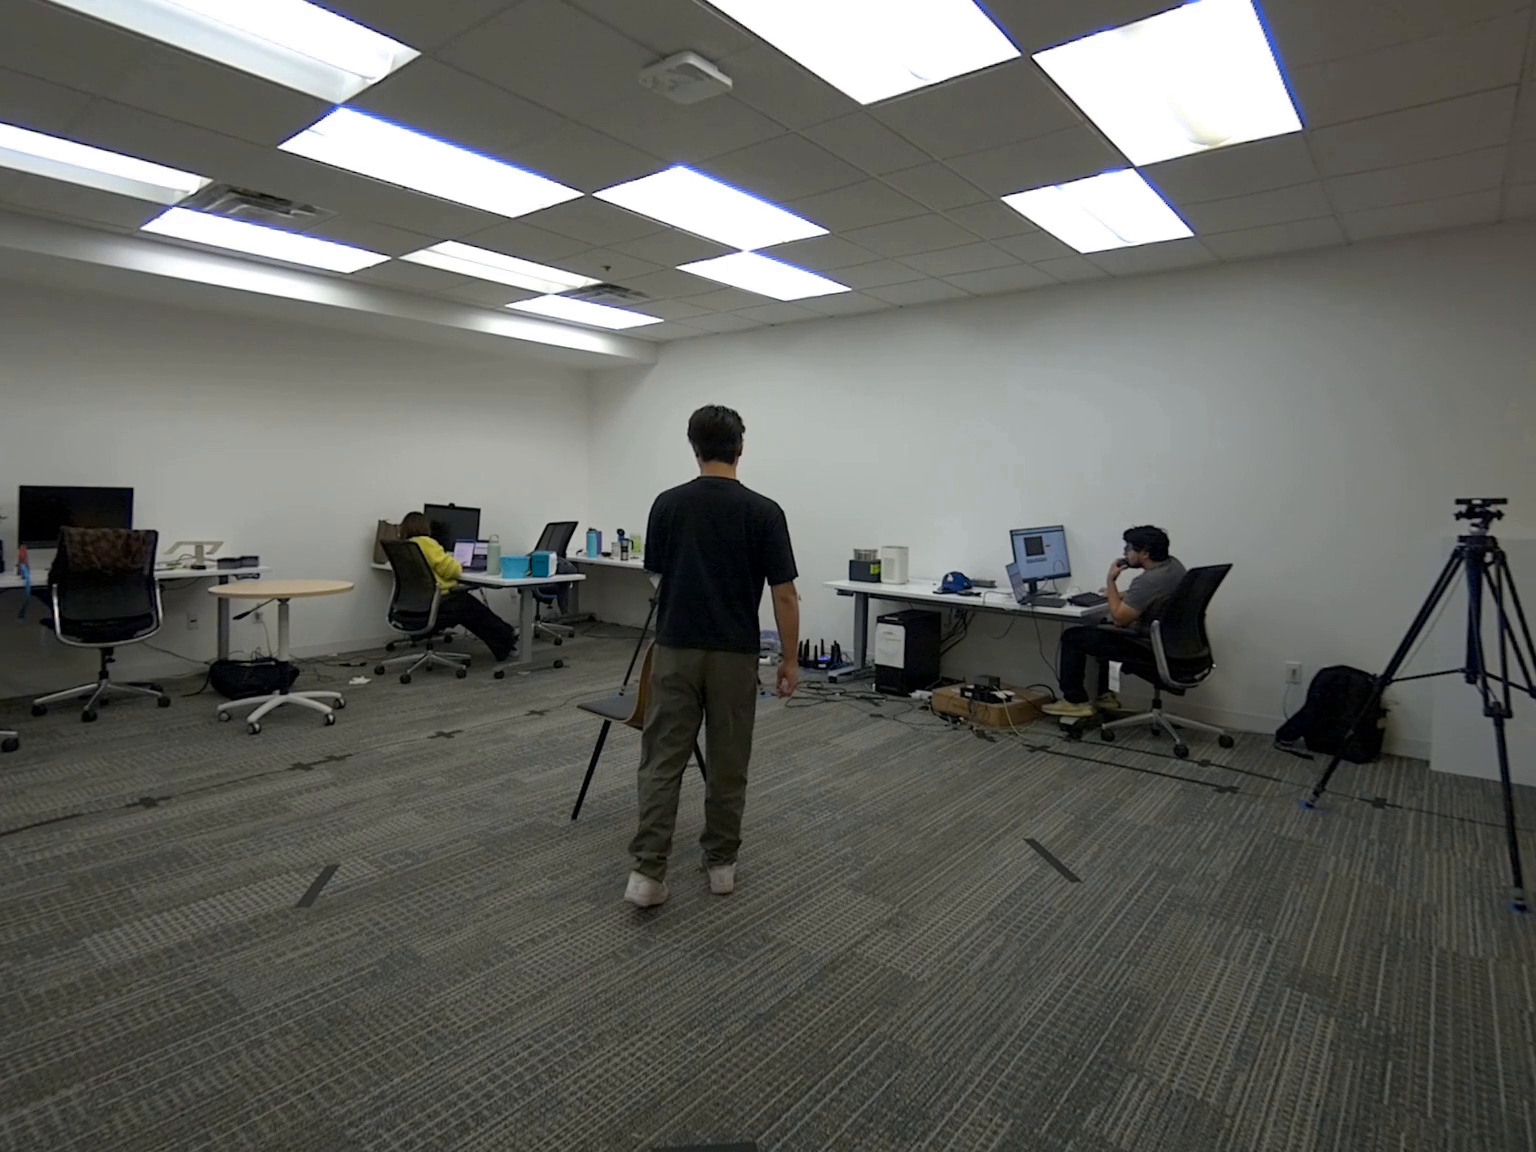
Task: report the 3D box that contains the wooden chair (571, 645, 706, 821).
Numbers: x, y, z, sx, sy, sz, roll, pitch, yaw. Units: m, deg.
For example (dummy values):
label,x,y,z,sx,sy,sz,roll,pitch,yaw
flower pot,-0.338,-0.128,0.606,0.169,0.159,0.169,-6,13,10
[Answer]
label,x,y,z,sx,sy,sz,roll,pitch,yaw
wooden chair,-0.518,0.593,3.552,0.542,0.873,0.464,9,8,40
